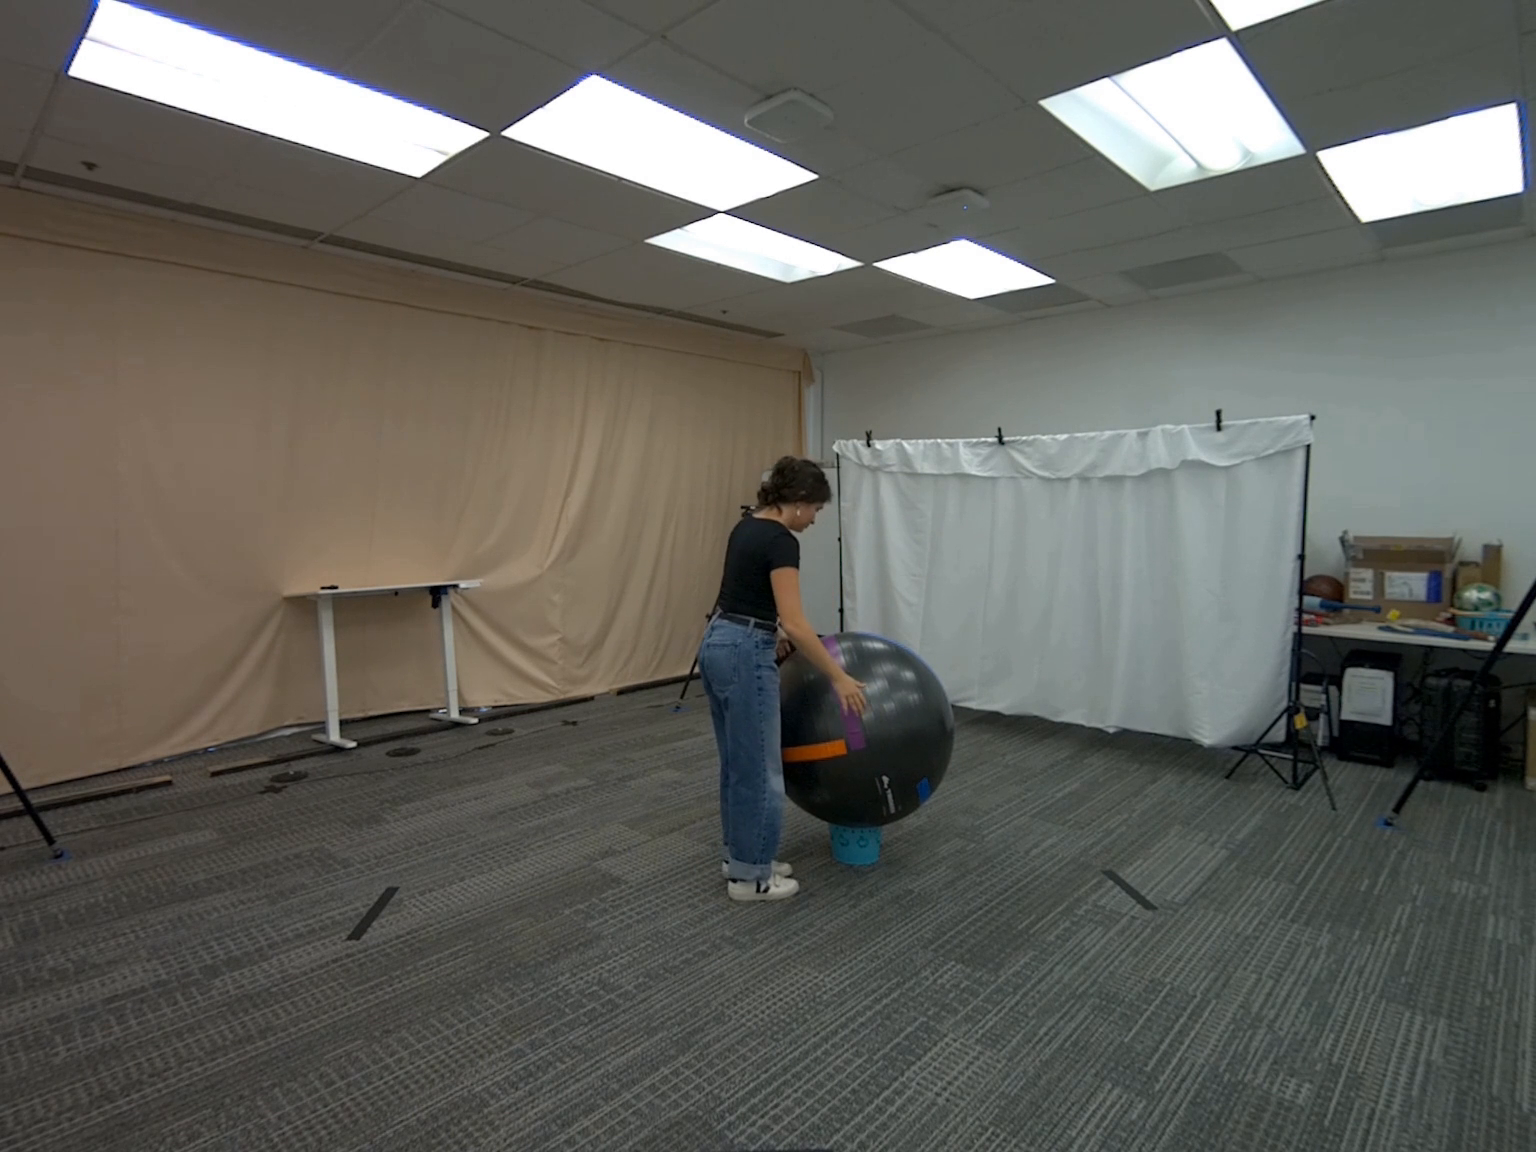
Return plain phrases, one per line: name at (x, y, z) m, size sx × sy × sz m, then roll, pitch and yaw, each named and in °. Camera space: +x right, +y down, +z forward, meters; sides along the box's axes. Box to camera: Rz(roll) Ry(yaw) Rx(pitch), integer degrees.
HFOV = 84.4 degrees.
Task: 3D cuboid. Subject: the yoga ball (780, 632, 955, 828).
yoga ball at (0.352, 0.603, 3.336) m, size 0.757 × 0.756 × 0.760 m, roll 0°, pitch 4°, yaw -2°
